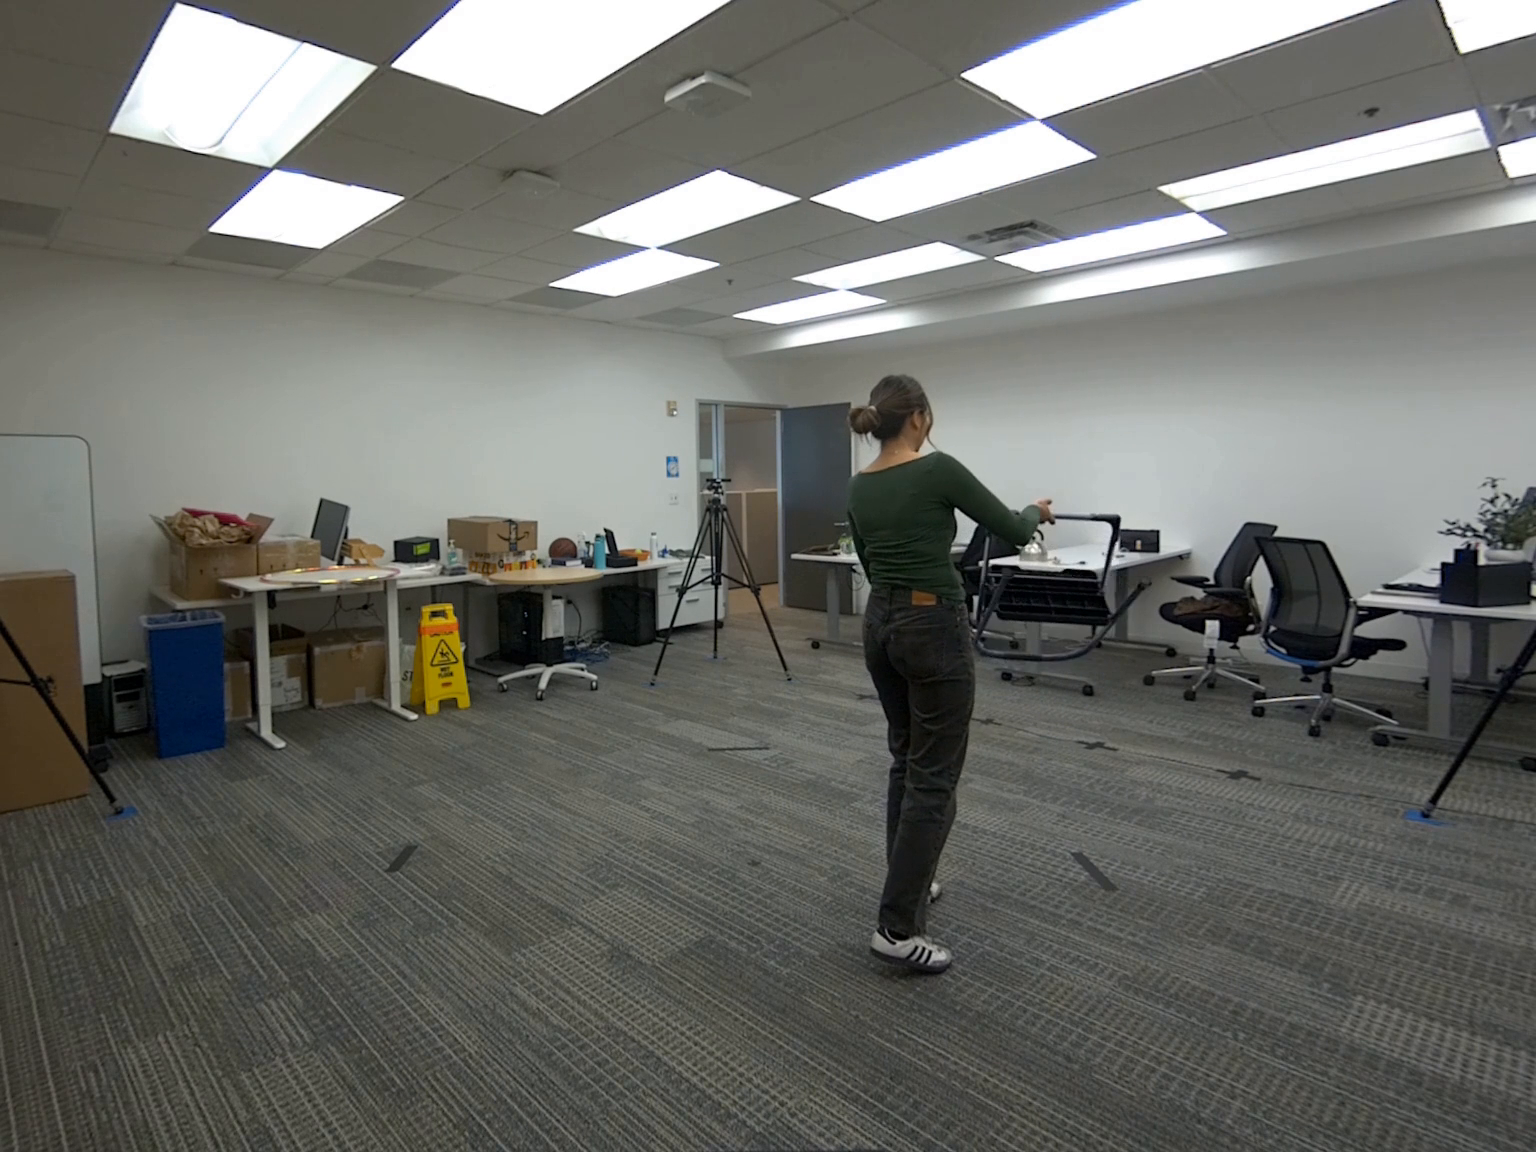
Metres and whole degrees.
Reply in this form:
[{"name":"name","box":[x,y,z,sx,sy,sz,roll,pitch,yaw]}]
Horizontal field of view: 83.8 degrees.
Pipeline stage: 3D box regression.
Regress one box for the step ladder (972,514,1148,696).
[{"name":"step ladder","box":[0.911,0.125,2.840,0.433,0.590,0.357,4,40,4]}]
